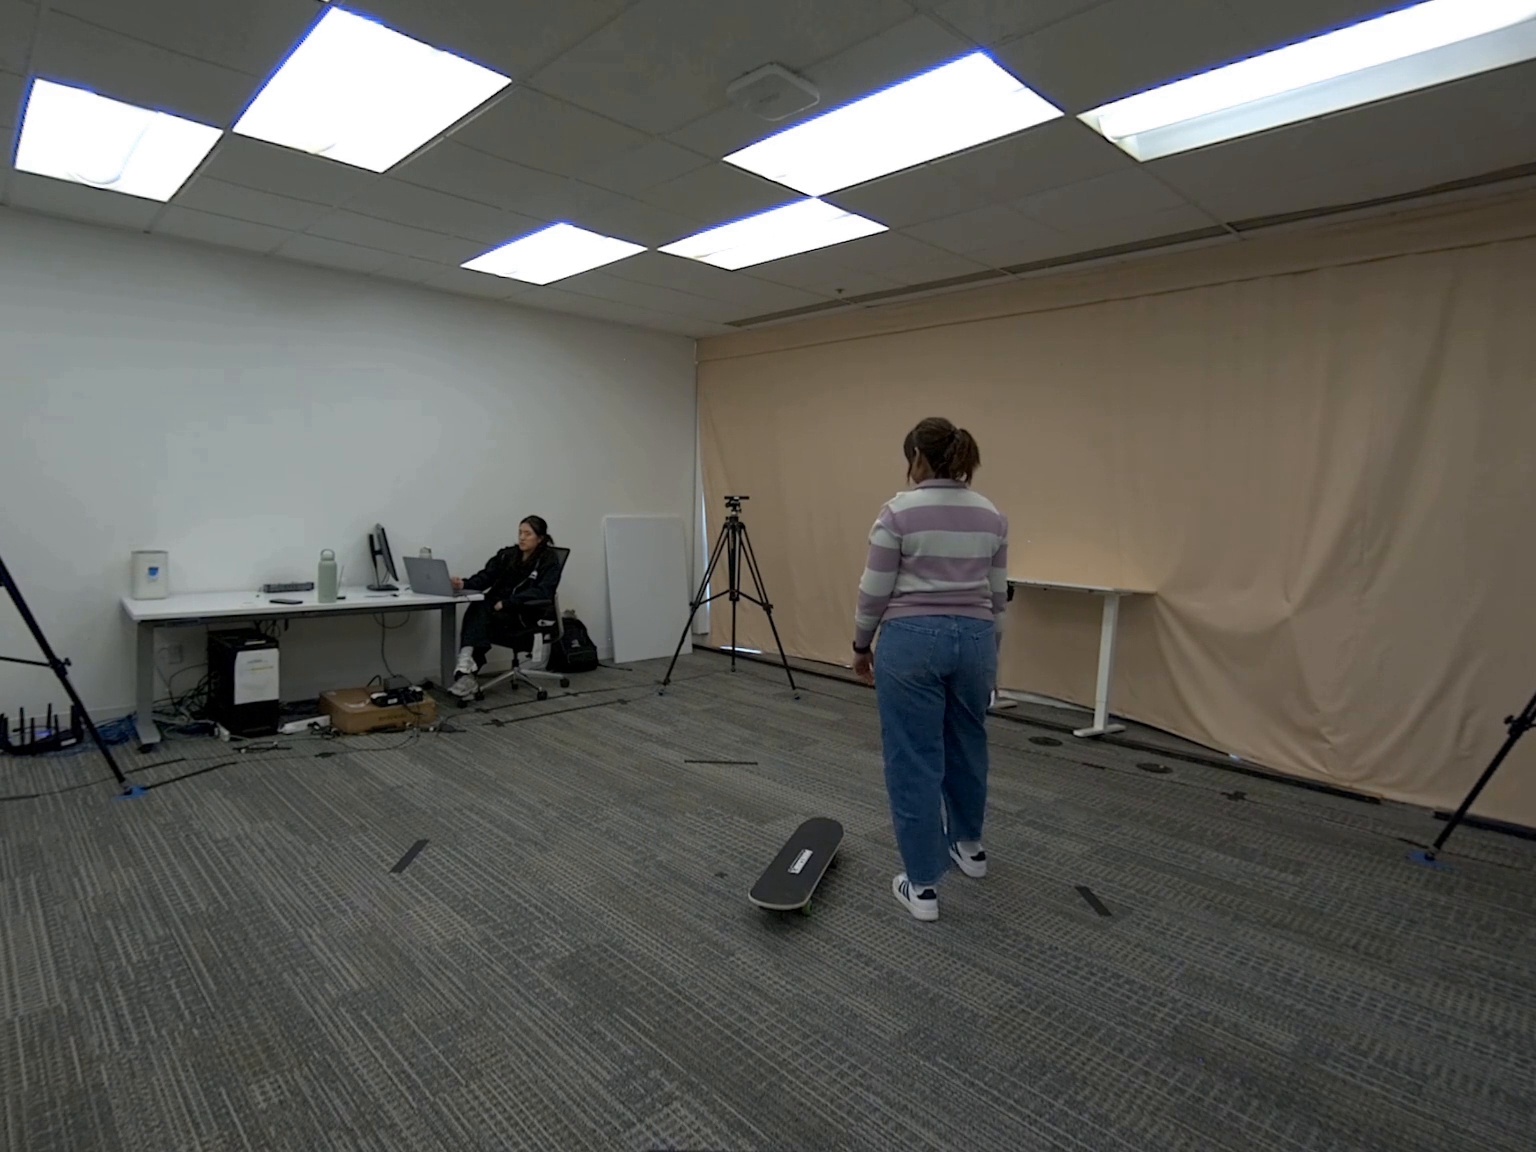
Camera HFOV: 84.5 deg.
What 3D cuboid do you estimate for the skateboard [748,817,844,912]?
[{"bbox_3d":[0.112,1.051,3.031,0.196,0.110,0.776,2,5,17],"label":"skateboard"}]
